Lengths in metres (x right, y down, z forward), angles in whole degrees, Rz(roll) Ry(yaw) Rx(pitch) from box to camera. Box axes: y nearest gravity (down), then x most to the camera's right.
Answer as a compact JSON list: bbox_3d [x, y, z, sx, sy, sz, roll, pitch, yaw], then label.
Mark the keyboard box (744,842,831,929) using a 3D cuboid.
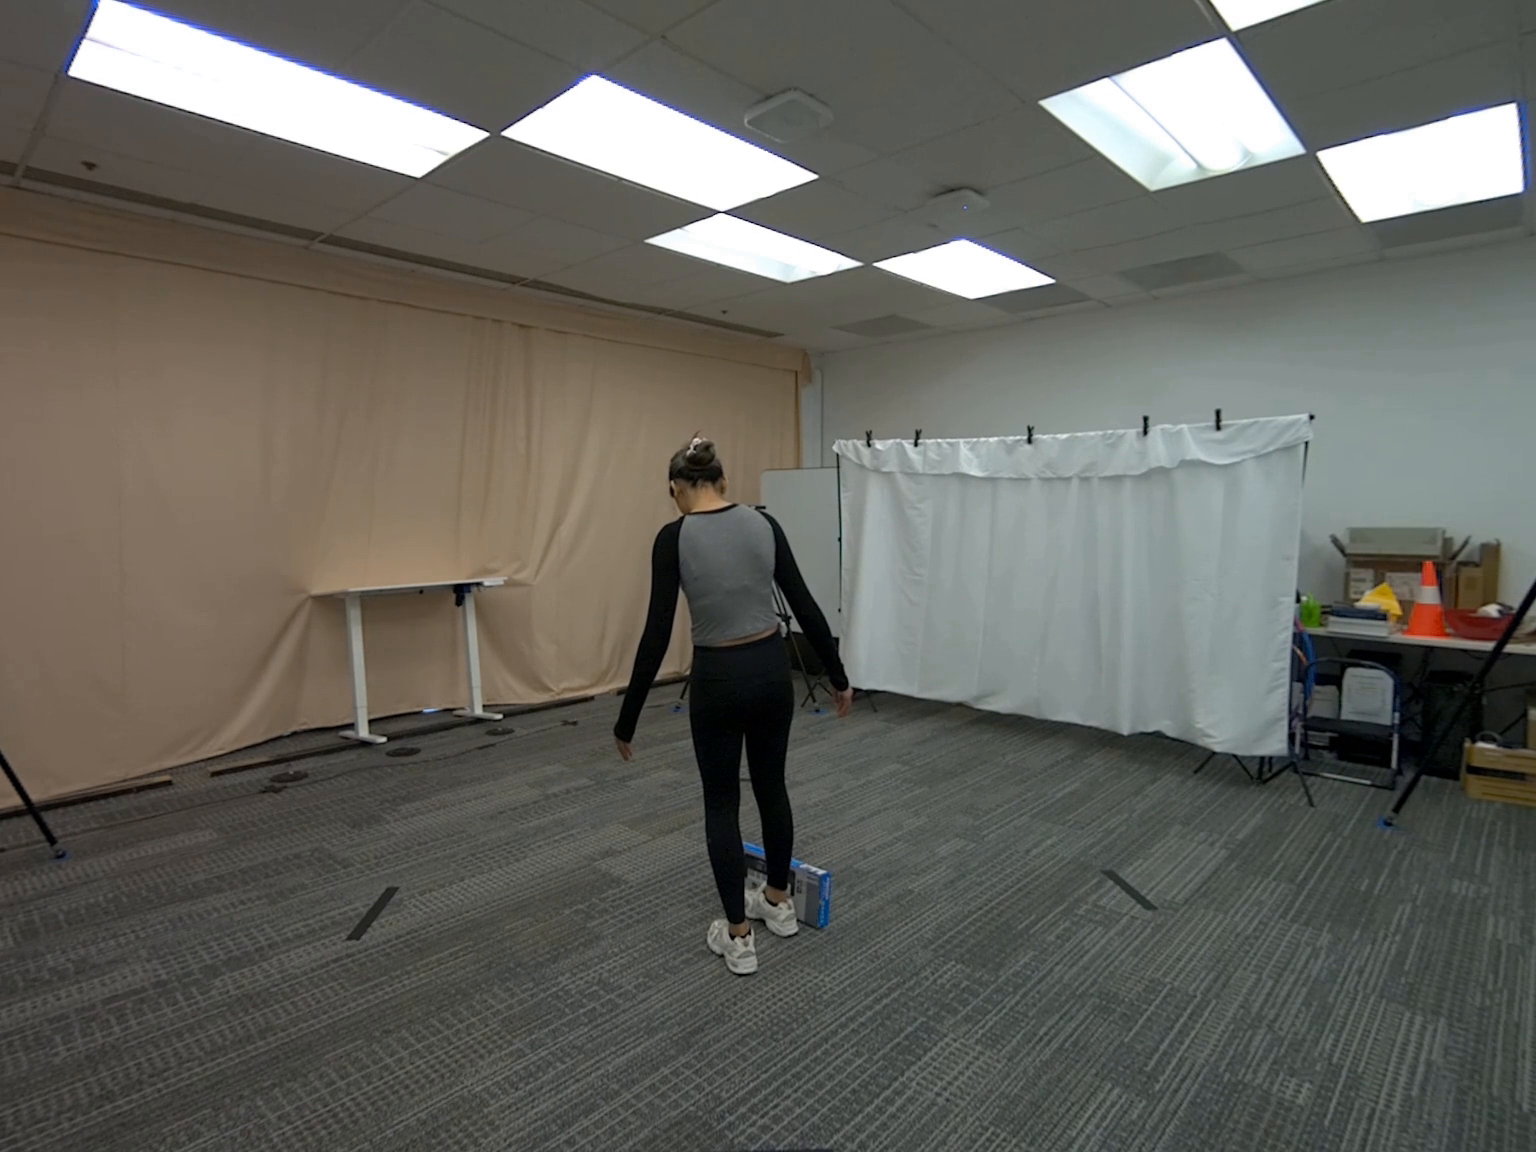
[{"bbox_3d":[0.024,1.062,2.930,0.451,0.176,0.057,4,-1,41],"label":"keyboard box"}]
